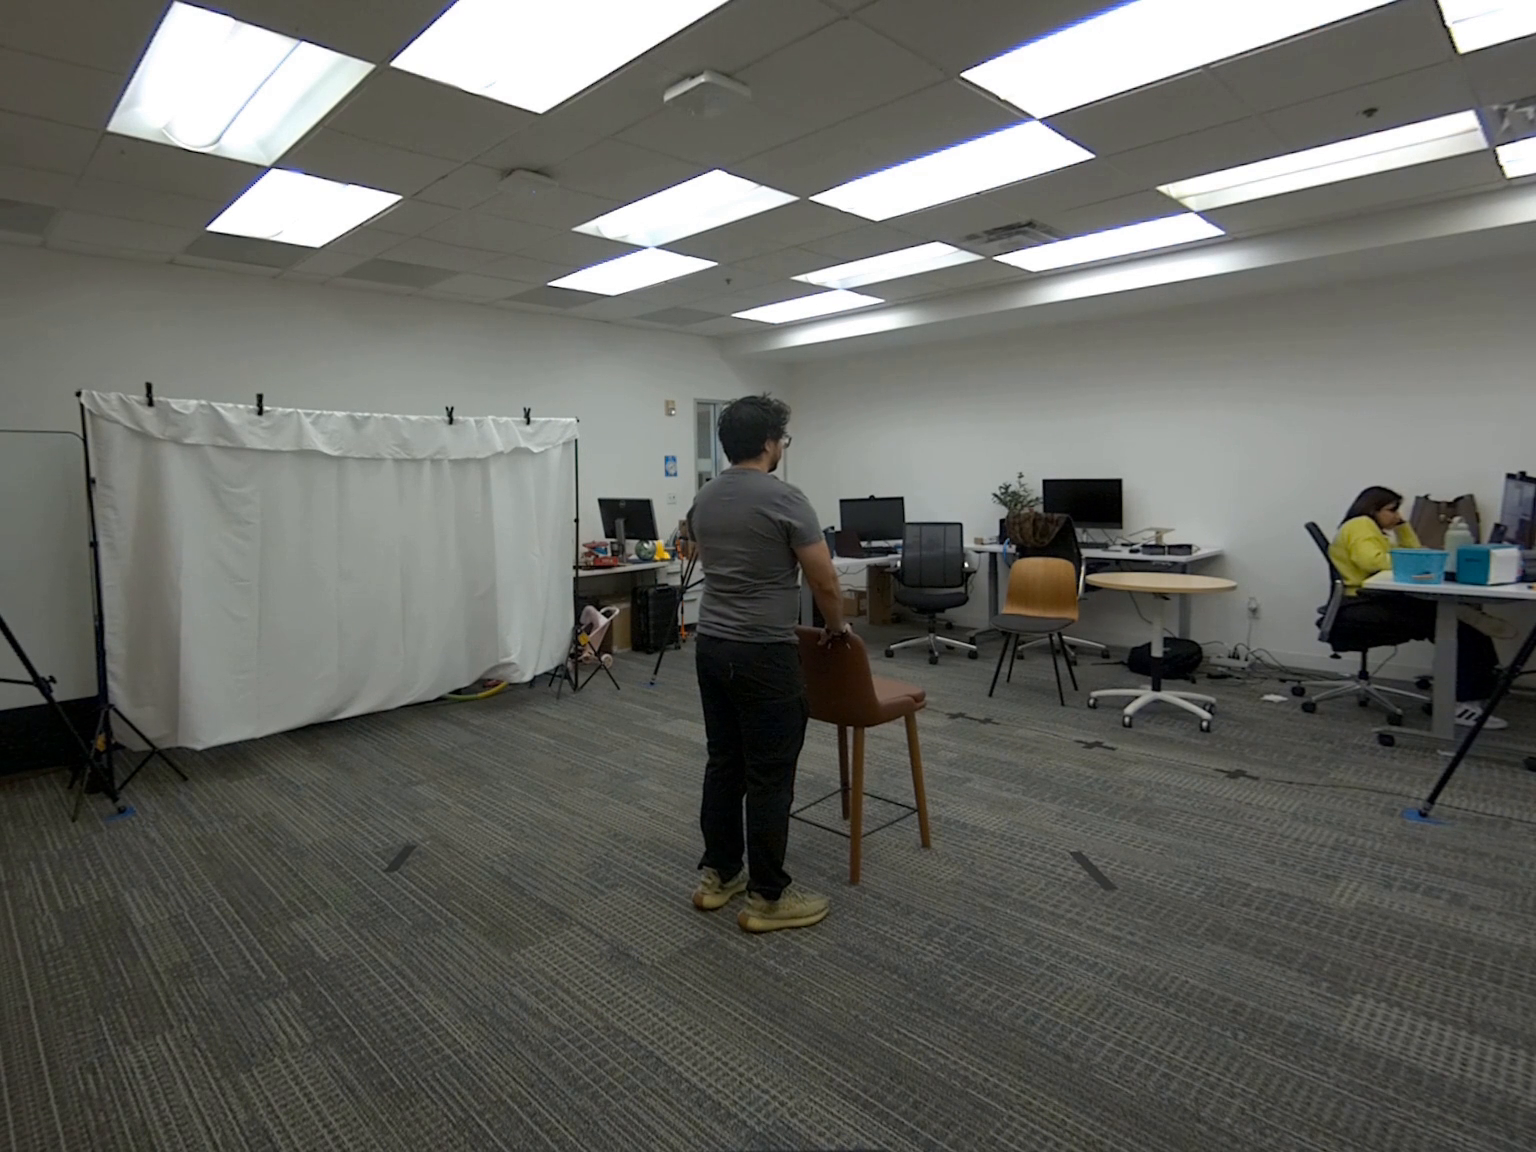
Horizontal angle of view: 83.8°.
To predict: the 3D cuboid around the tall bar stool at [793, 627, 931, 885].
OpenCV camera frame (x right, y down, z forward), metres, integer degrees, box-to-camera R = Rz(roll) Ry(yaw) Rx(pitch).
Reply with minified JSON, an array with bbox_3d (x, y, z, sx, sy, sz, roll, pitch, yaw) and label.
[{"bbox_3d":[0.301,0.590,3.173,0.470,0.885,0.456,3,8,45],"label":"tall bar stool"}]
